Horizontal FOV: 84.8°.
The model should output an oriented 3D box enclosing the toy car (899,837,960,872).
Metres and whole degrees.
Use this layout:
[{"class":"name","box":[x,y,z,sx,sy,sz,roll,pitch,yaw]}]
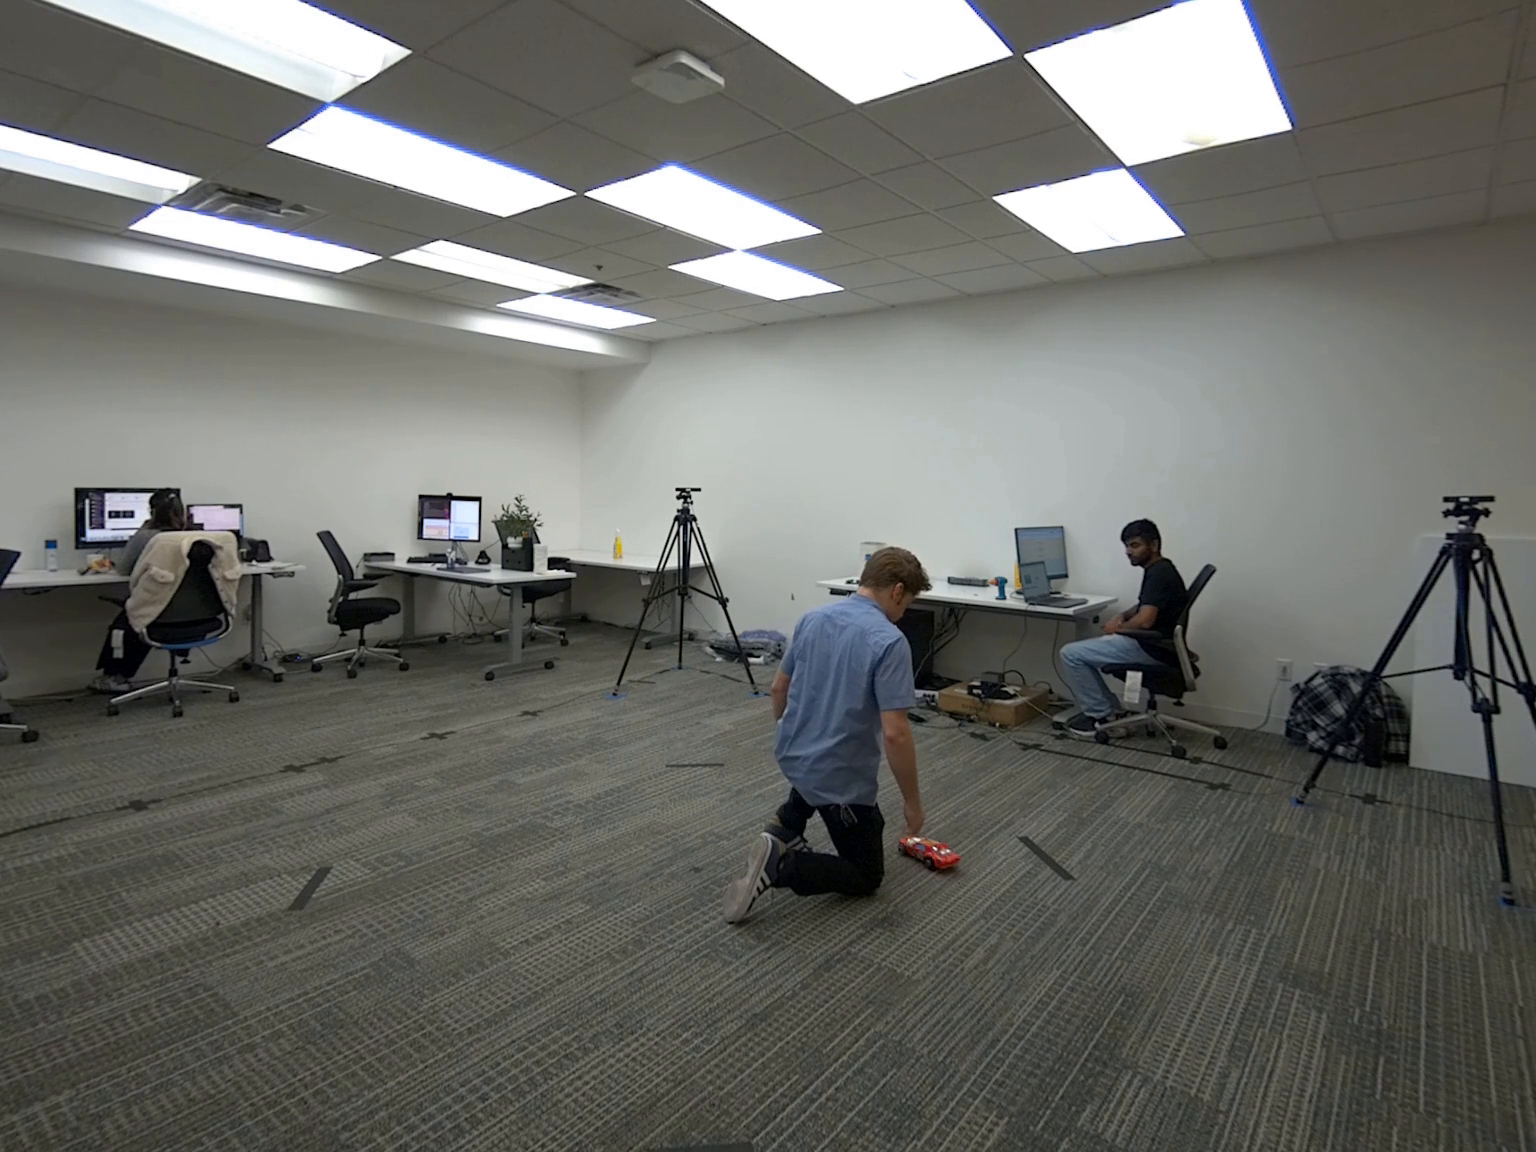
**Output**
[{"class":"toy car","box":[0.607,1.044,3.215,0.126,0.083,0.261,0,-4,-33]}]
